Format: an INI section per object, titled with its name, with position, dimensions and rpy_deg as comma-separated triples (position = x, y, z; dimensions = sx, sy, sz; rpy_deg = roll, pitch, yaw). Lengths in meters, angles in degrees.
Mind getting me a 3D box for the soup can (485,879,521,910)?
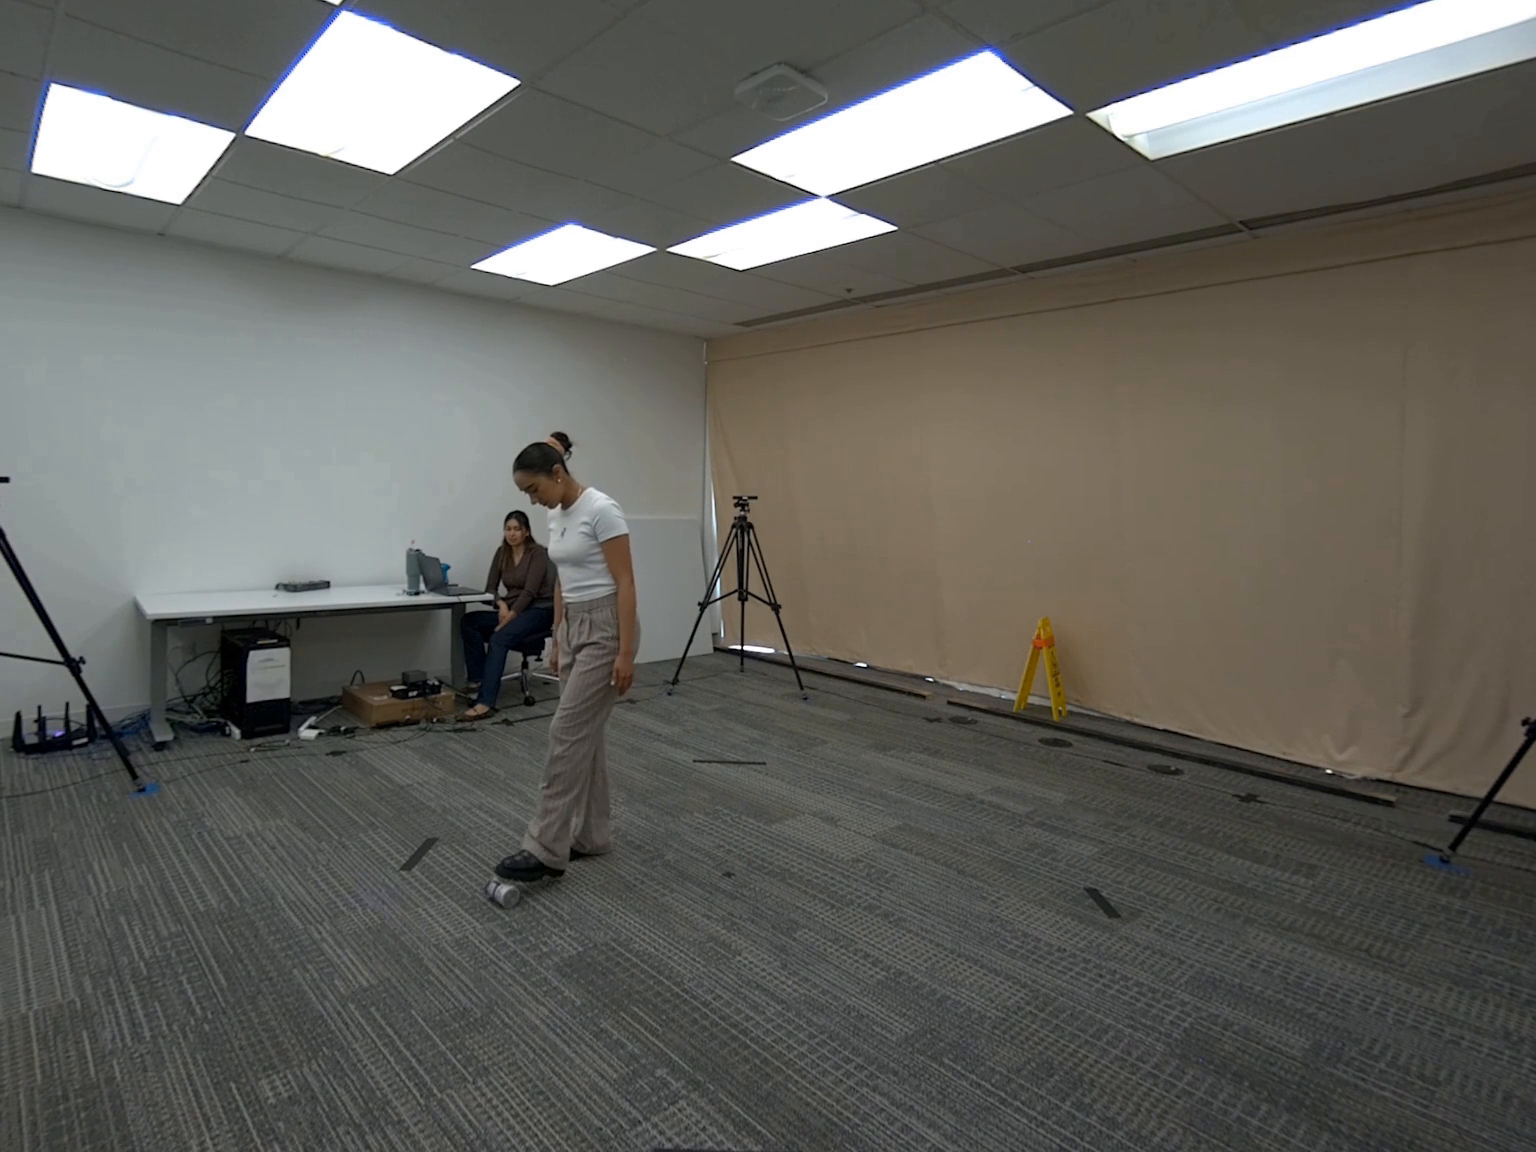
[soup can]
position = -0.904, 1.071, 2.862
dimensions = 0.065, 0.067, 0.125
rpy_deg = -3, 8, -44
